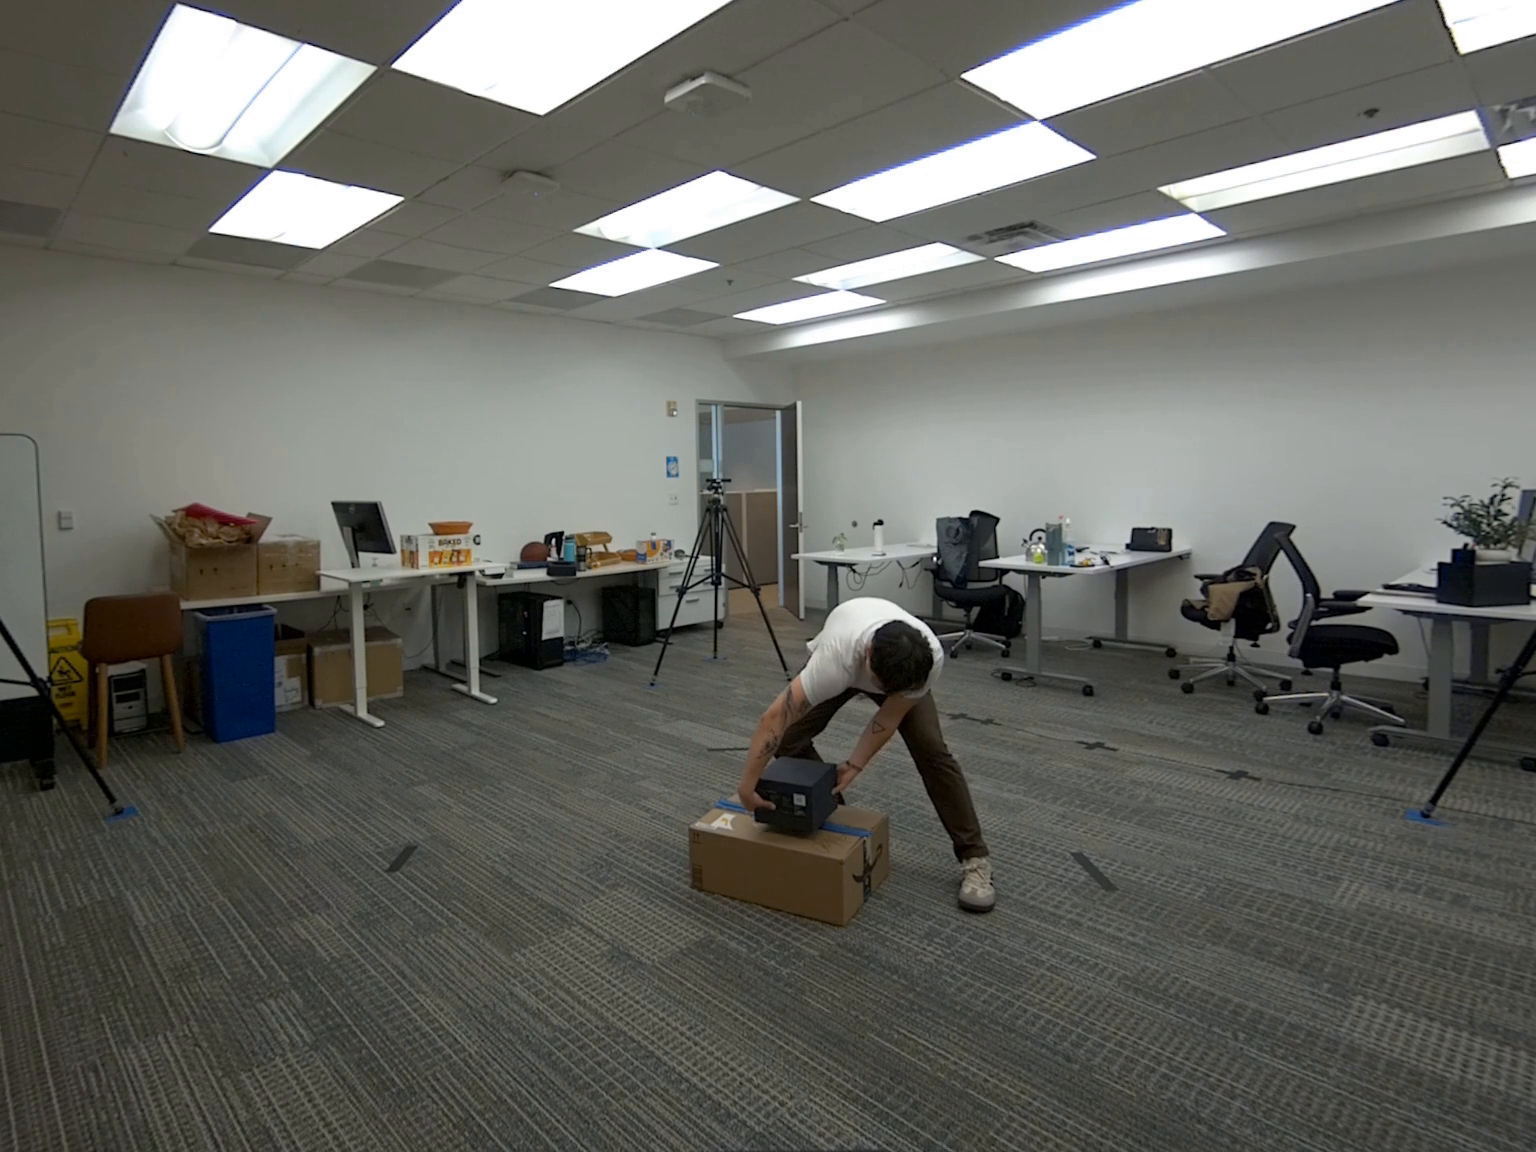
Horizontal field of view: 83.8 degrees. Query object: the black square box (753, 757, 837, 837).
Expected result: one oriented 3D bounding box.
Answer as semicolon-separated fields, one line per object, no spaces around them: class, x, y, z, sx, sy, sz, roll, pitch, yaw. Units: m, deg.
black square box;0.098;0.731;2.905;0.222;0.155;0.224;0;7;26
